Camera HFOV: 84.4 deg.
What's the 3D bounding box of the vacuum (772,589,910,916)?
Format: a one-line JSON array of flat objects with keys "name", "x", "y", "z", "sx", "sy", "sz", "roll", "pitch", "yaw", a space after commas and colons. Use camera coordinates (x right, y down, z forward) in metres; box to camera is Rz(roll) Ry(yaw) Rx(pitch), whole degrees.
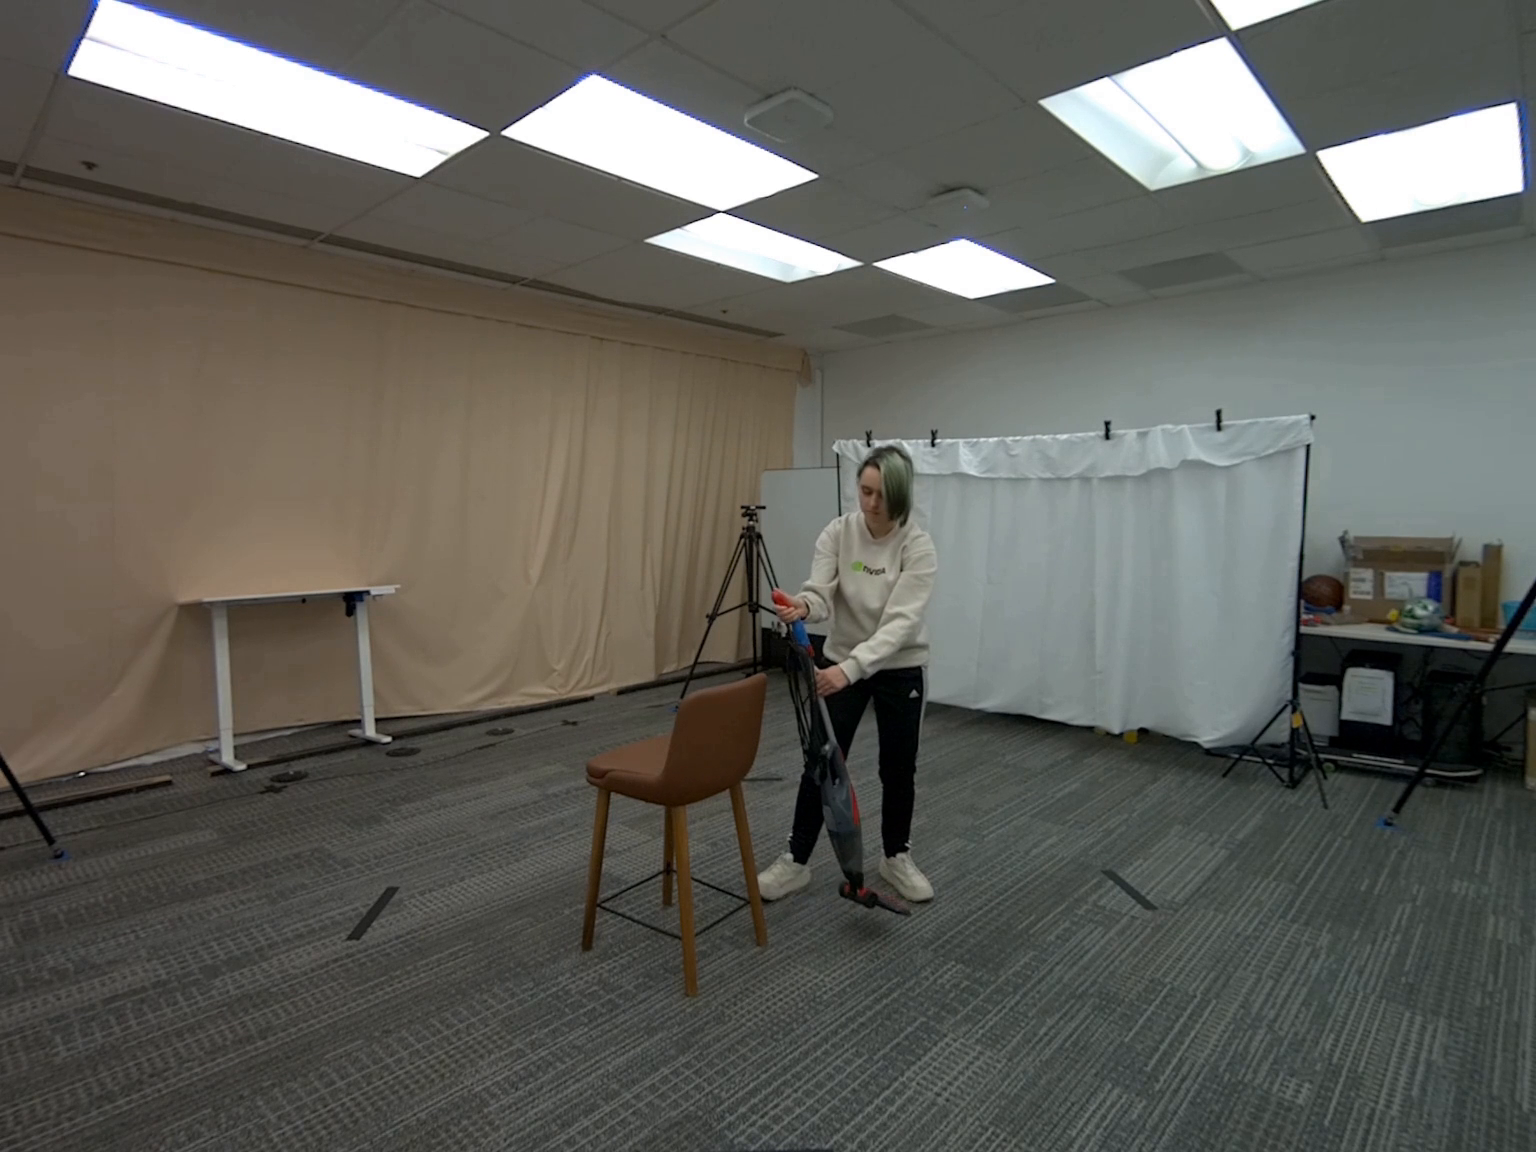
[{"name": "vacuum", "x": 0.187, "y": 0.568, "z": 2.680, "sx": 0.260, "sy": 1.042, "sz": 0.141, "roll": -10, "pitch": 10, "yaw": 41}]
